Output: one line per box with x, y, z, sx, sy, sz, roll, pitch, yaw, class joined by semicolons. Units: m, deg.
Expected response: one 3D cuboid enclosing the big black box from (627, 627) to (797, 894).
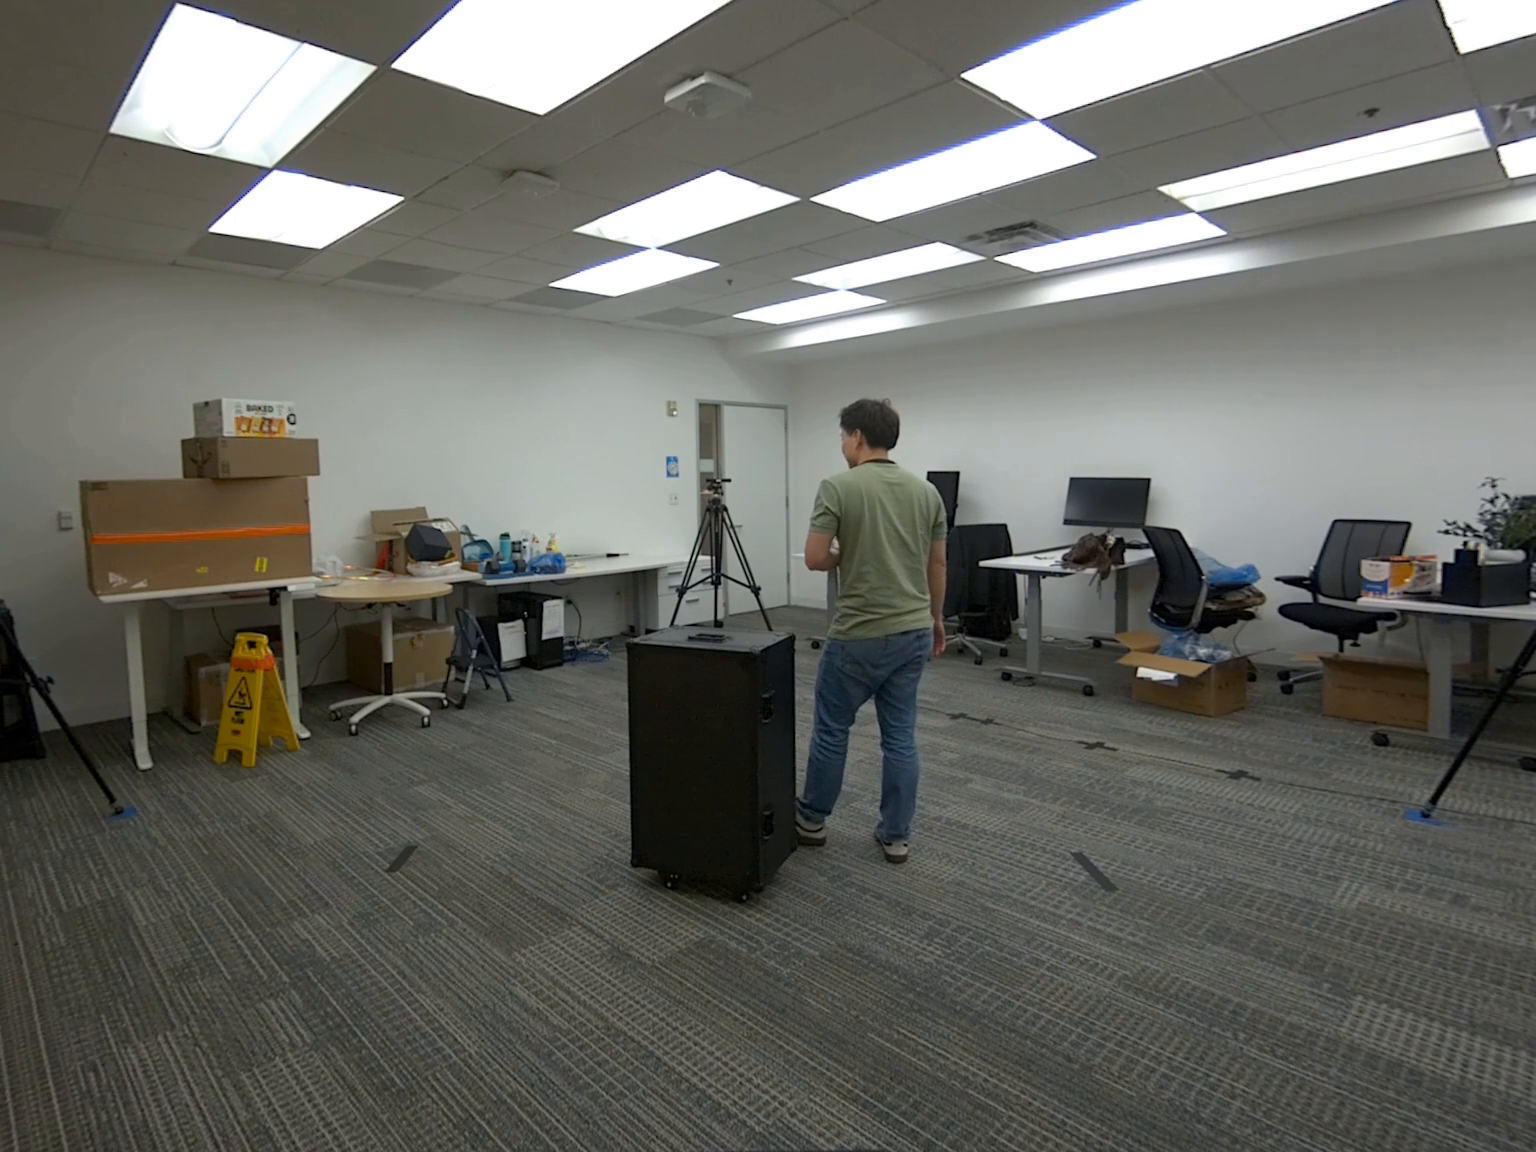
-0.189;0.632;2.983;0.533;0.859;0.389;1;4;24;big black box
